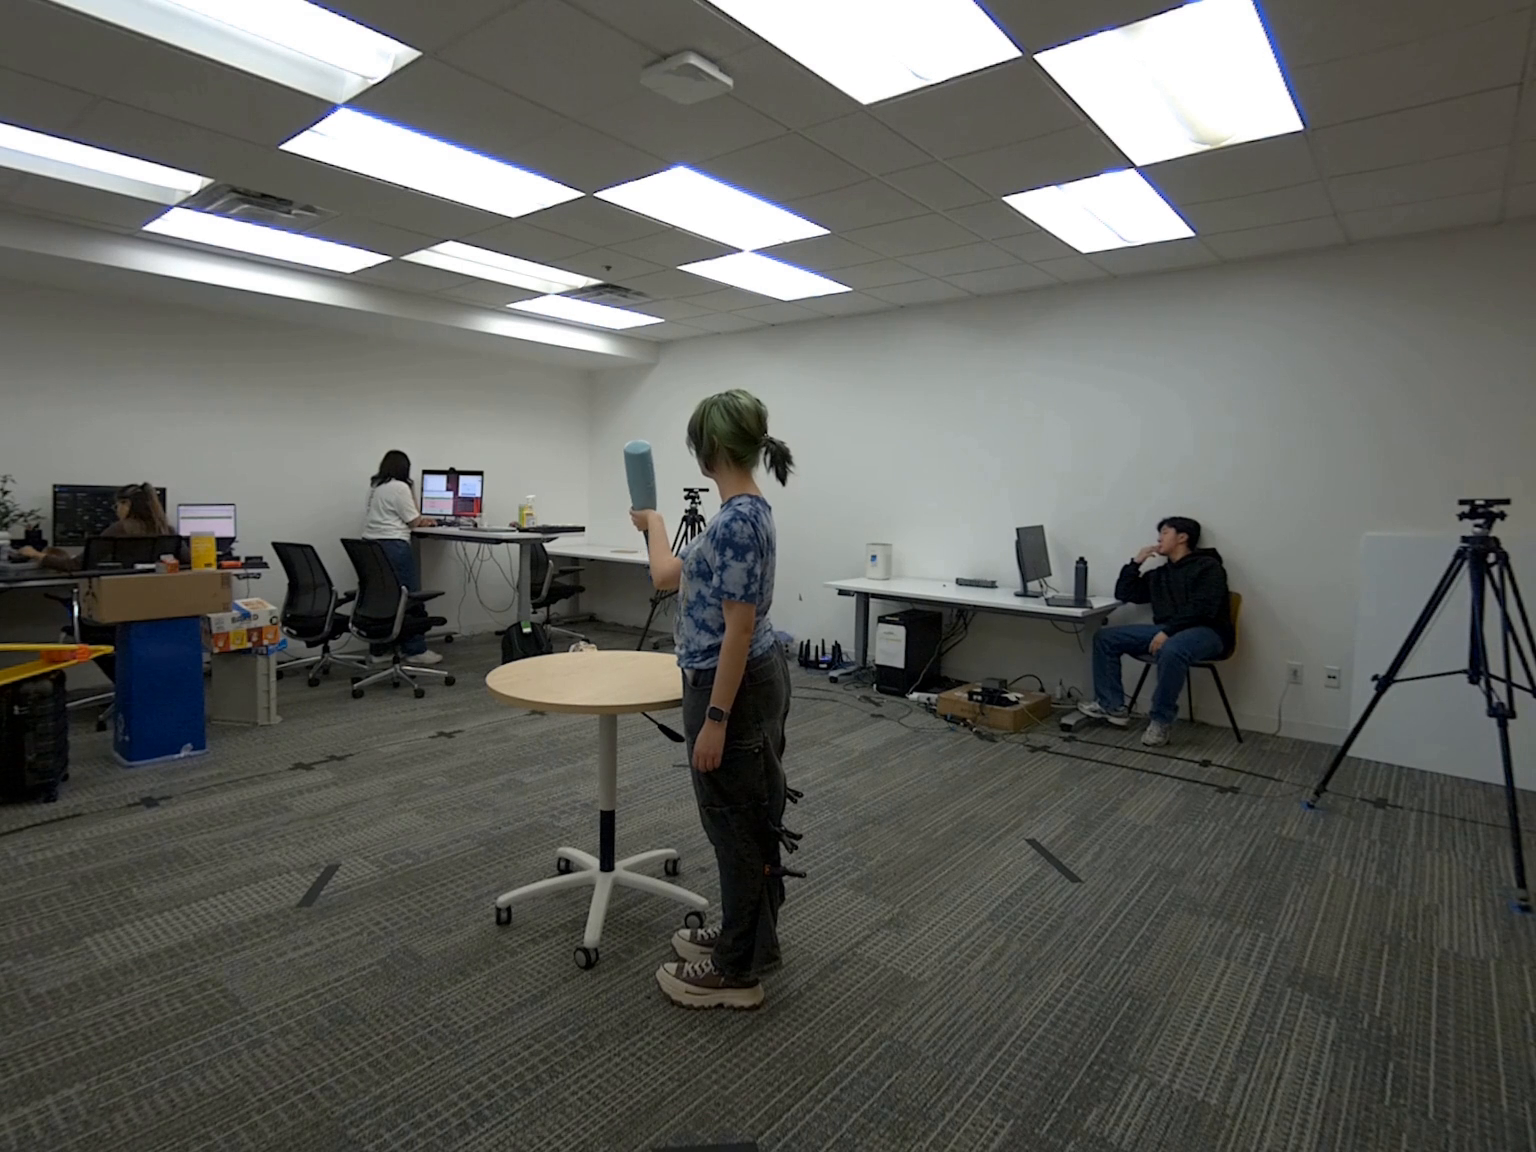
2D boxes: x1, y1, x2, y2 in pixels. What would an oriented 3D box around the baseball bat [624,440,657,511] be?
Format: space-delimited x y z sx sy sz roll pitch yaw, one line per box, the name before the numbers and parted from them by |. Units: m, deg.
baseball bat | -0.411 -0.197 2.750 0.089 0.527 0.091 -1 38 -1
